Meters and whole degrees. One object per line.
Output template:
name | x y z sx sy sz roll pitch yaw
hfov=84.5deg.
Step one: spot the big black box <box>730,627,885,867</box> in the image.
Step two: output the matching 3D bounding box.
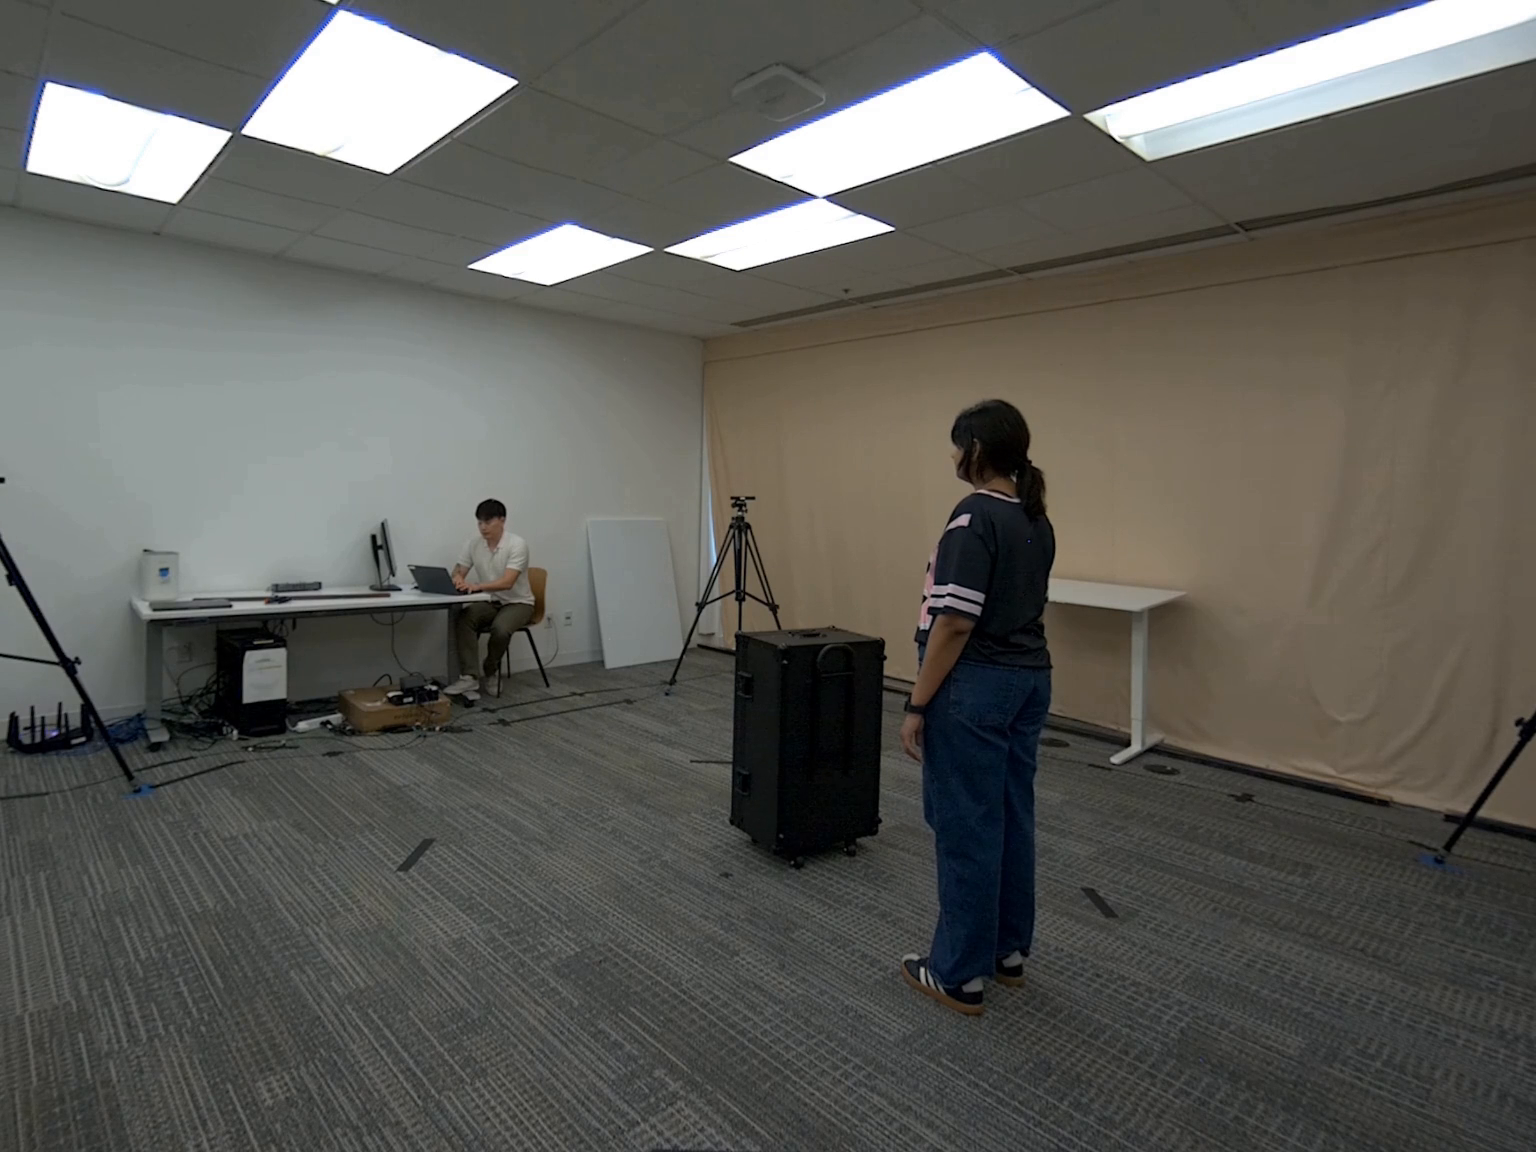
big black box | 0.156 0.667 3.367 0.513 0.867 0.394 0 3 -31
